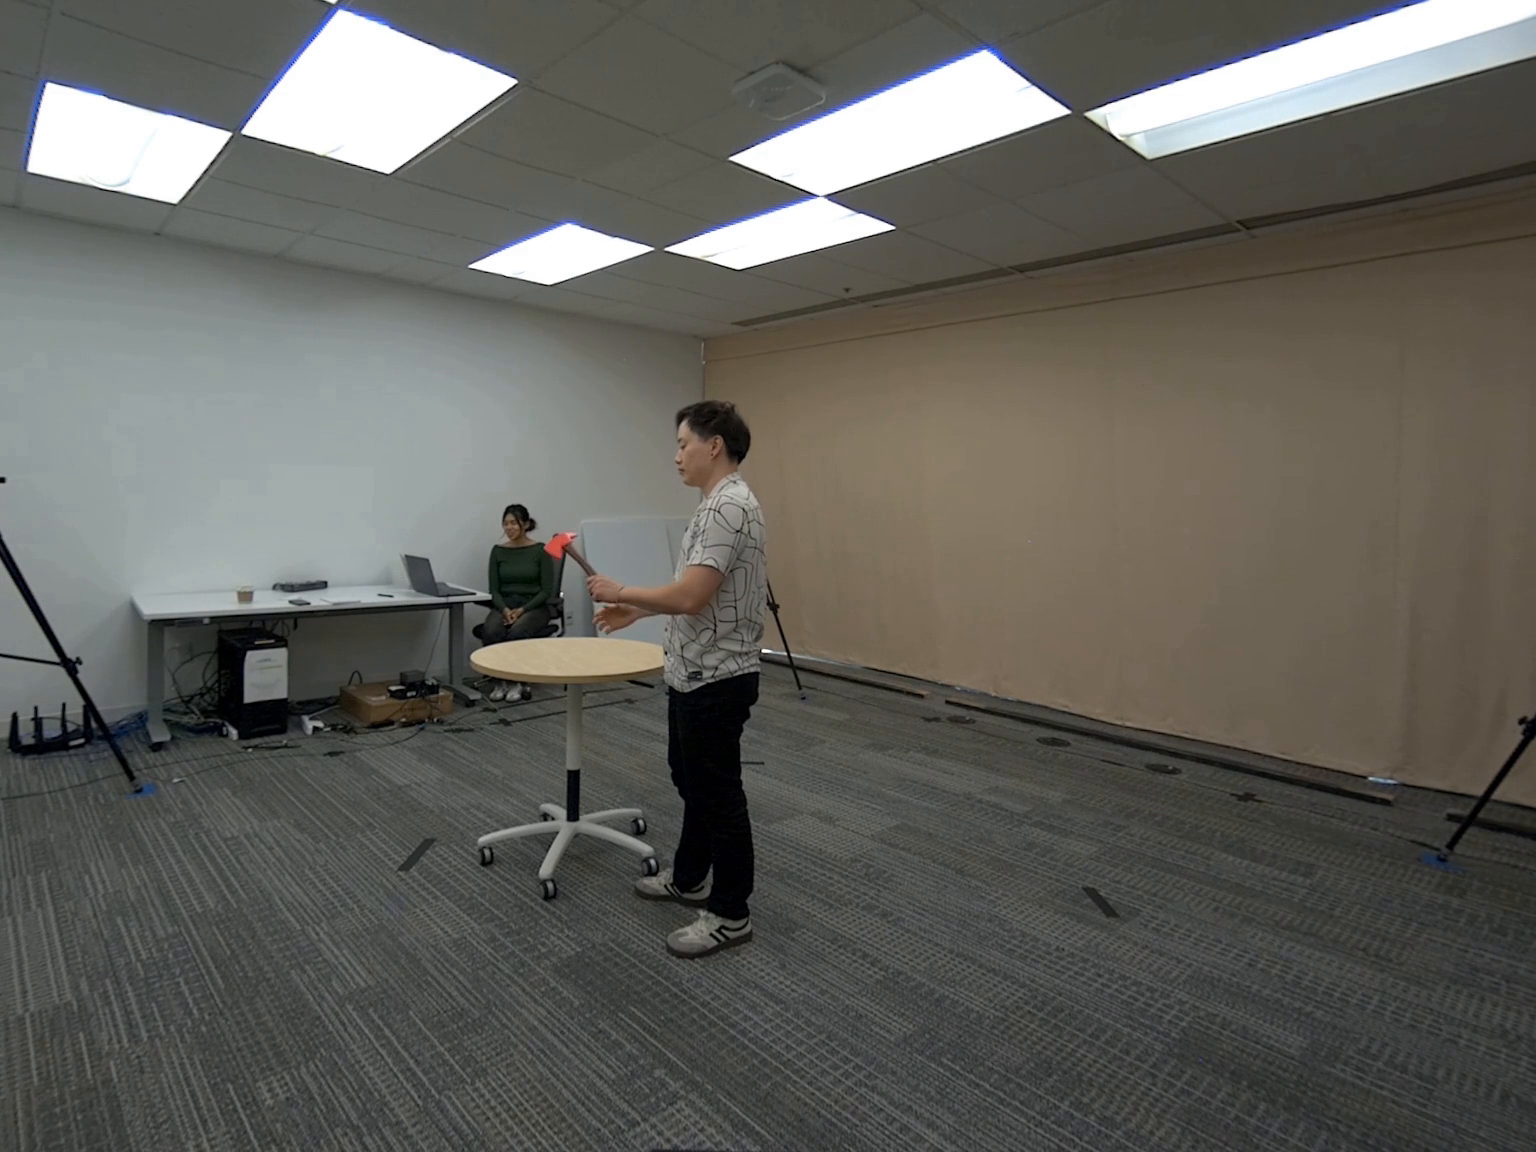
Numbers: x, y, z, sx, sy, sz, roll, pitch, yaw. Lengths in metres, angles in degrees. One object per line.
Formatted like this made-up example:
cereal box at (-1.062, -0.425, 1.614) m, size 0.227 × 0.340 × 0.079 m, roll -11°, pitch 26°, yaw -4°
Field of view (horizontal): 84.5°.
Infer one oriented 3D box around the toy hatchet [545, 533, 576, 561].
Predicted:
toy hatchet at (-0.574, -0.026, 2.489) m, size 0.128 × 0.029 × 0.277 m, roll -9°, pitch 53°, yaw -41°
